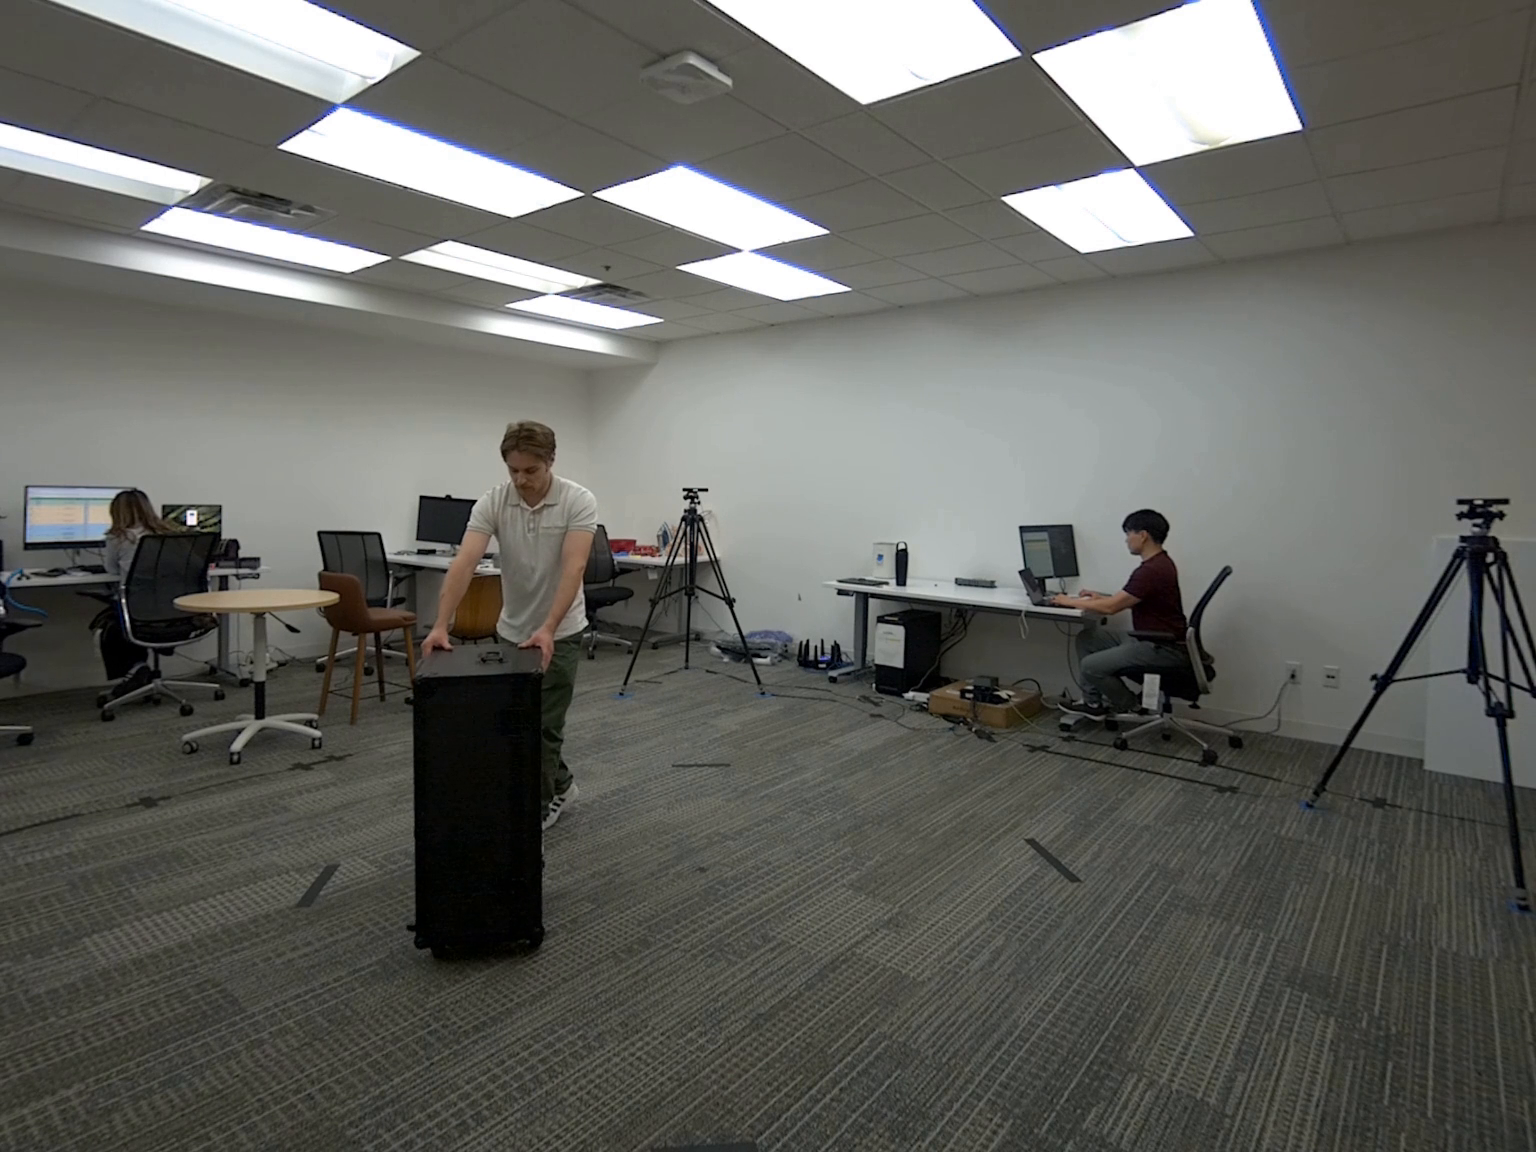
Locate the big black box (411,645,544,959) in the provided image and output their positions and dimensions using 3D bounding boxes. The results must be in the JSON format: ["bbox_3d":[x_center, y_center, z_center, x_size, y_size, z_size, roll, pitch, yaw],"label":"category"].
[{"bbox_3d":[-0.896,0.684,2.656,0.380,0.866,0.532,0,3,-13],"label":"big black box"}]
